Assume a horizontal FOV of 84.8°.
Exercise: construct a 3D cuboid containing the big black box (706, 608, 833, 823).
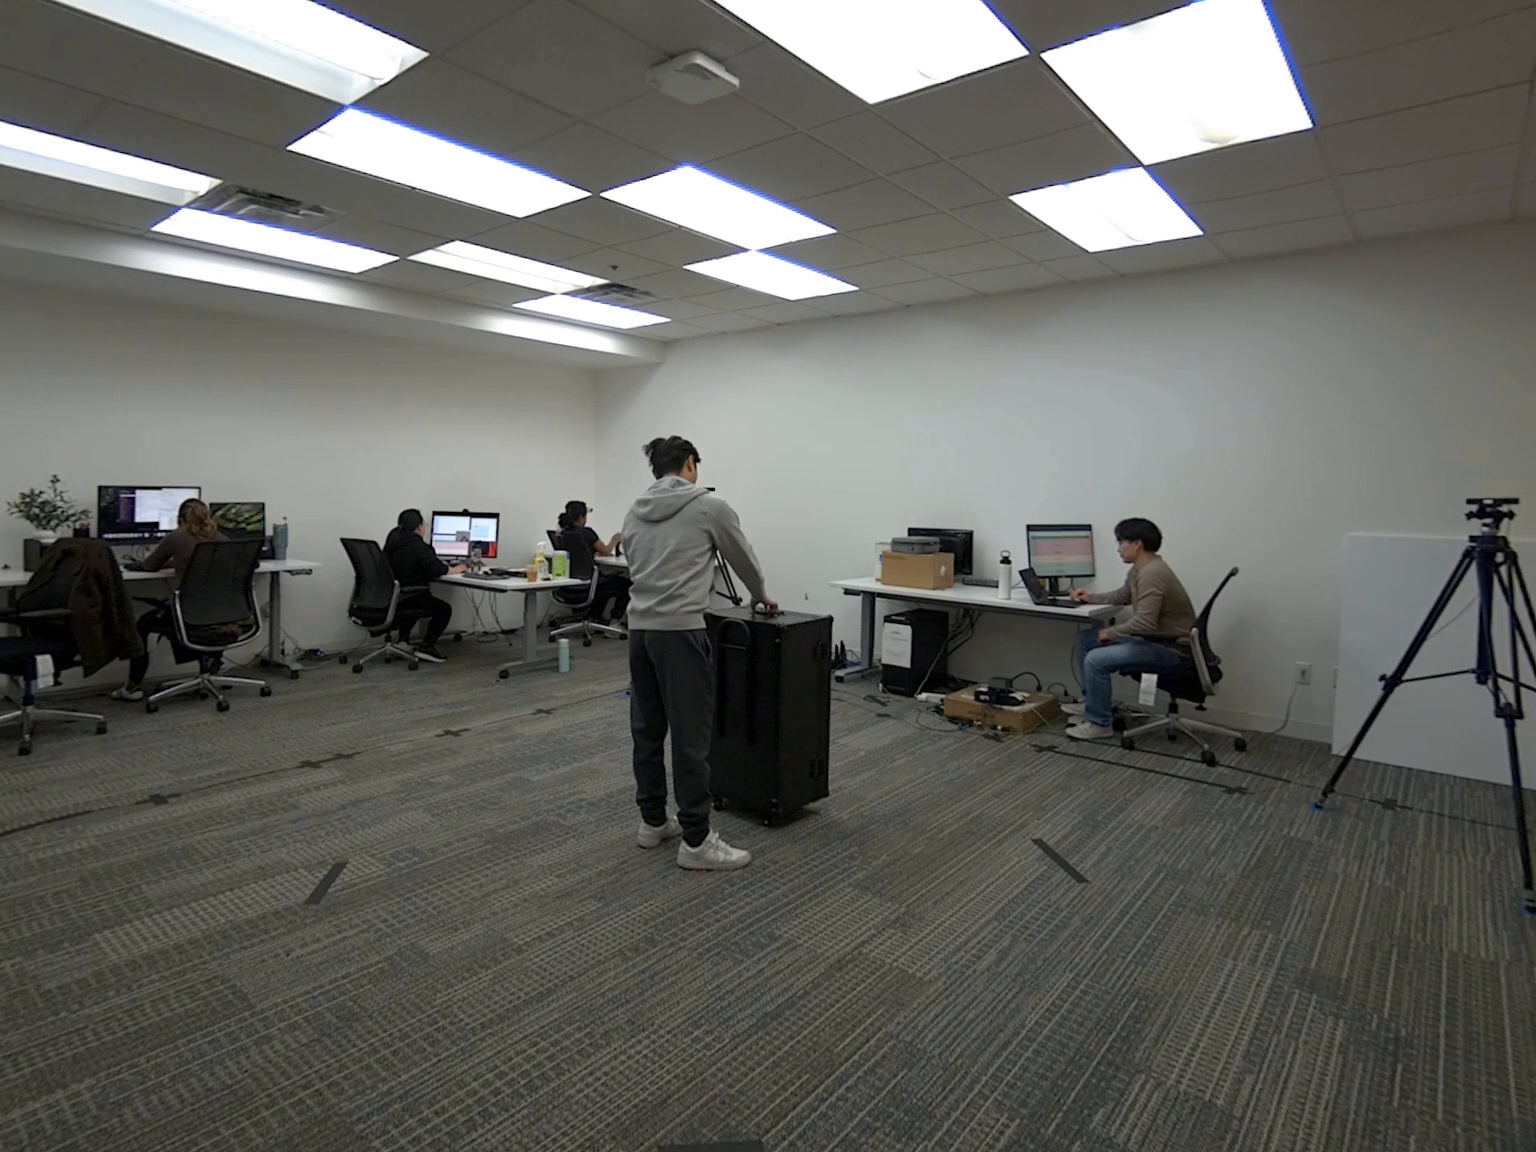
[{"bbox_3d":[-0.036,0.588,3.689,0.539,0.858,0.384,4,5,40],"label":"big black box"}]
